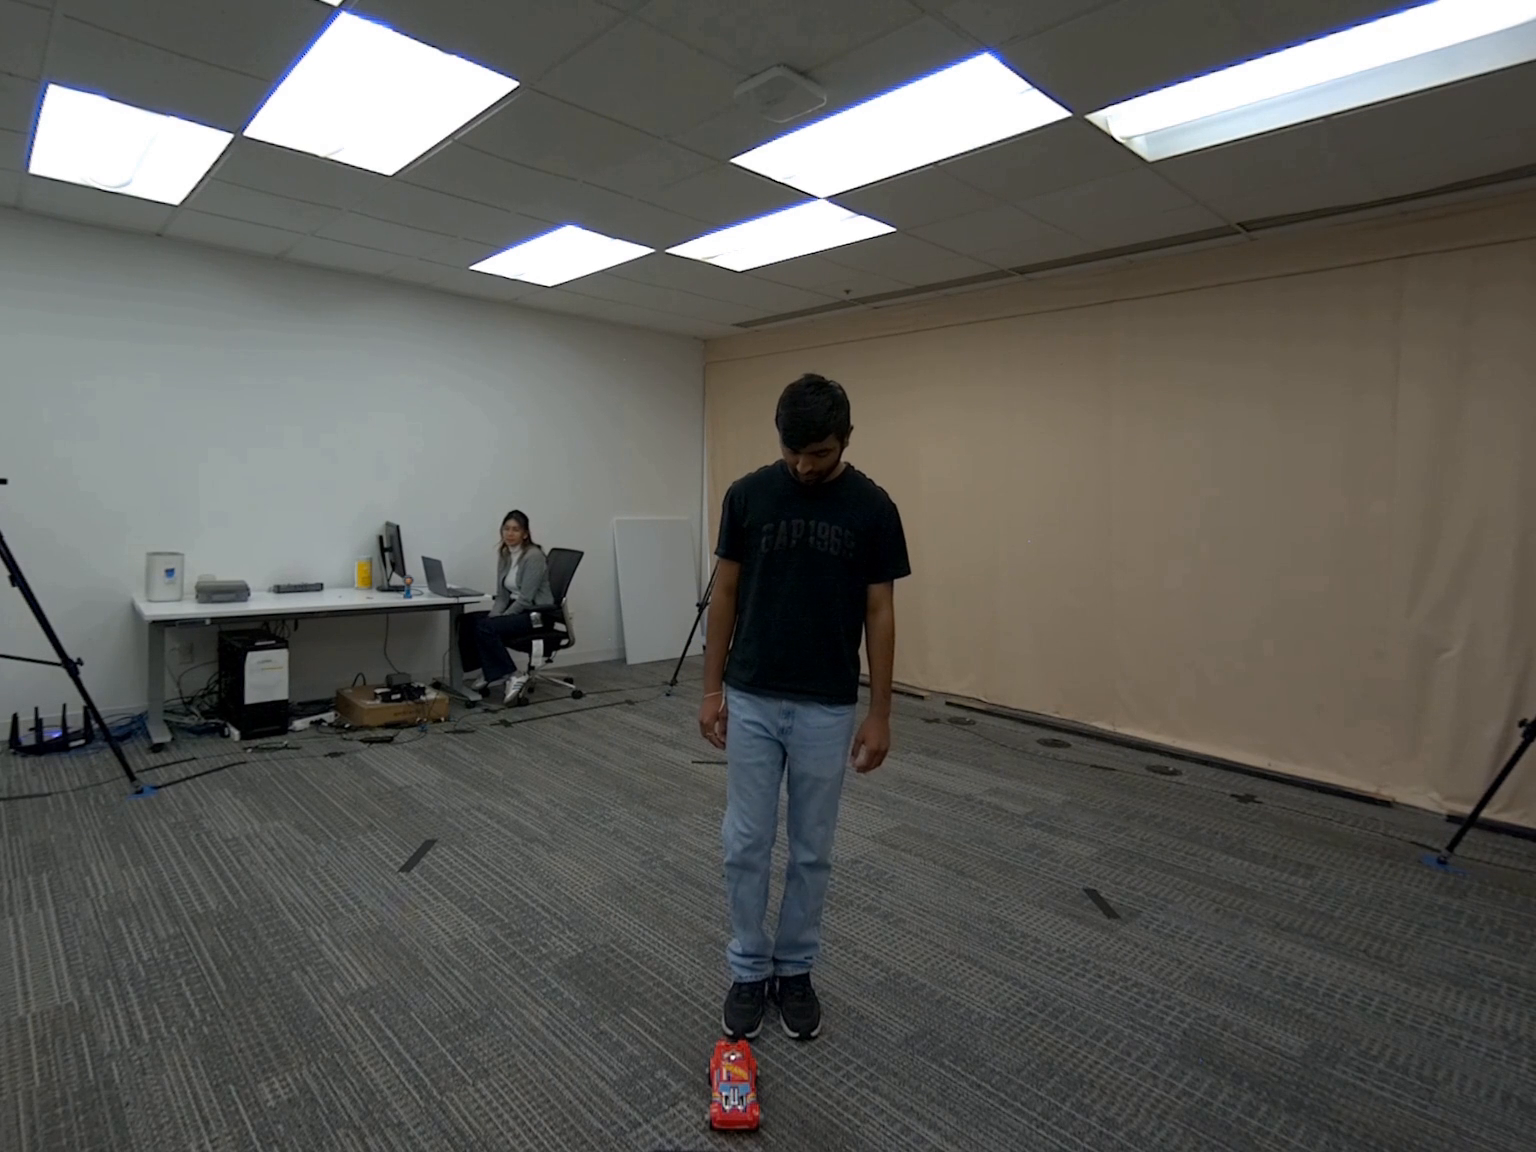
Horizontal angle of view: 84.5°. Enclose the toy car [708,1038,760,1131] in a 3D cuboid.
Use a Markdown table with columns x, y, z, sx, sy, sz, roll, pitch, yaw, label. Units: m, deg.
| x | y | z | sx | sy | sz | roll | pitch | yaw | label |
| --- | --- | --- | --- | --- | --- | --- | --- | --- | --- |
| -0.087 | 1.187 | 1.950 | 0.130 | 0.082 | 0.257 | 1 | 16 | -1 | toy car |
